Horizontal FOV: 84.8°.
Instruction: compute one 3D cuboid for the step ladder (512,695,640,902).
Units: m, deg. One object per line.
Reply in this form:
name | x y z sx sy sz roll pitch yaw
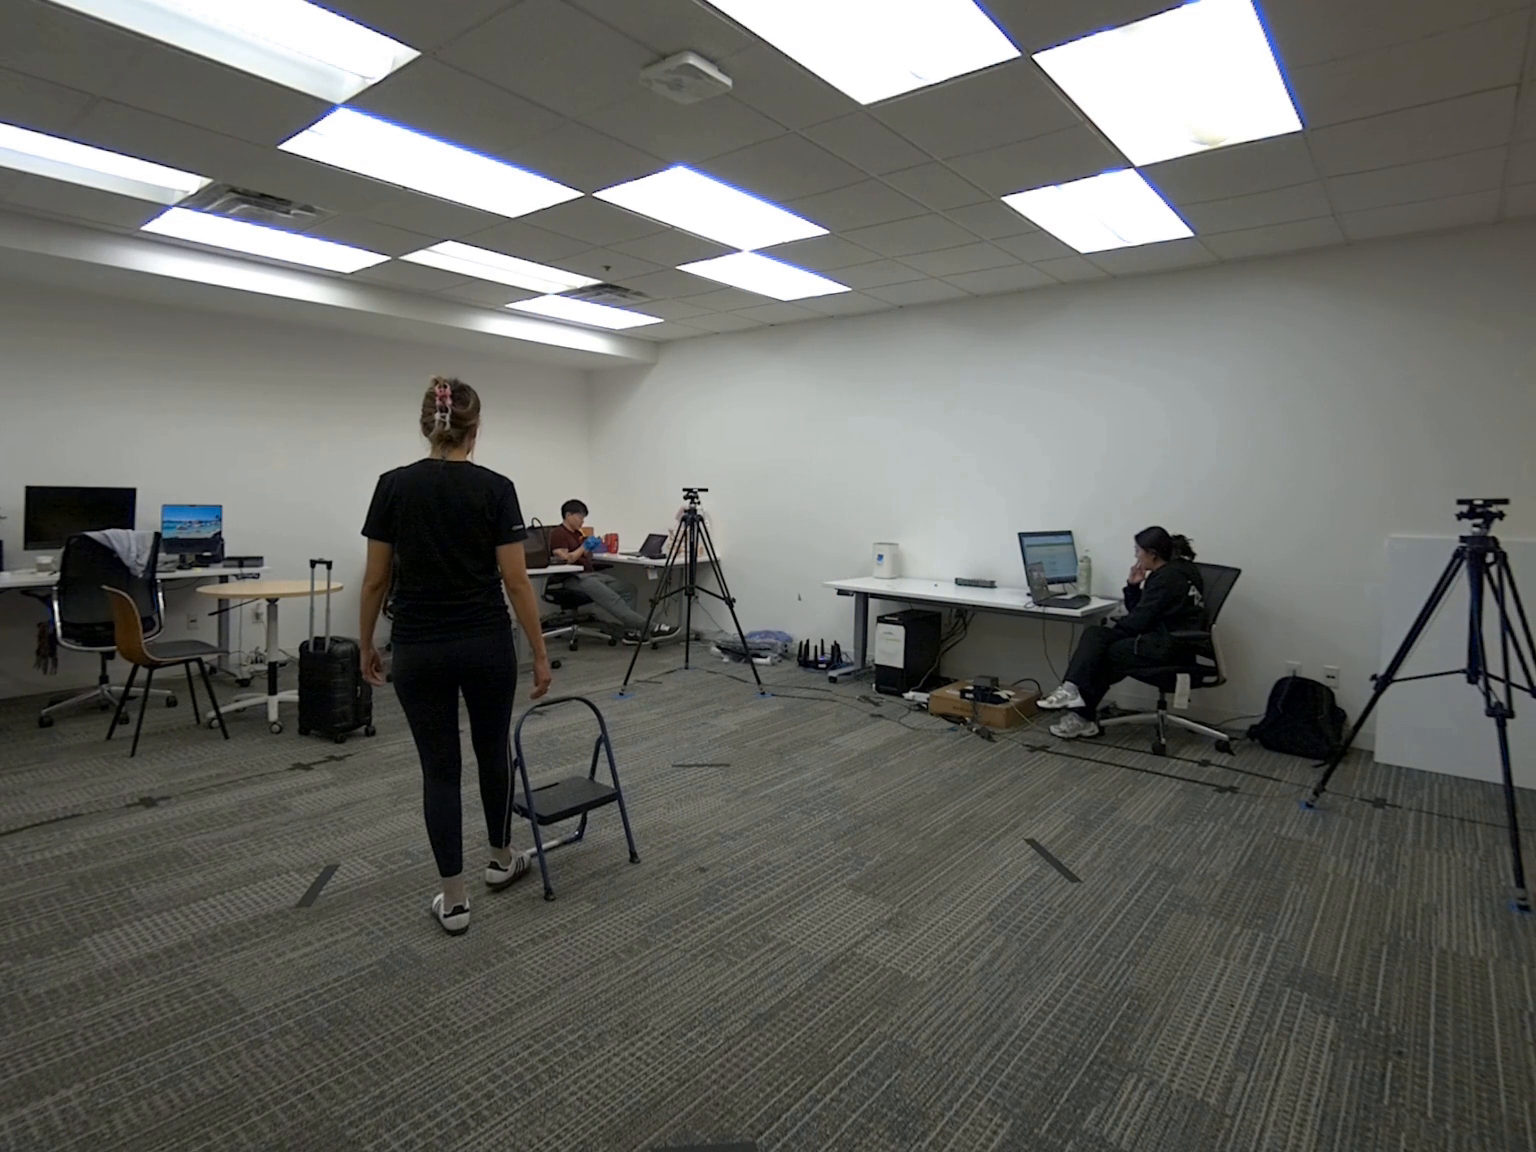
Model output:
step ladder | -0.734 0.758 3.103 0.361 0.604 0.418 4 4 38
